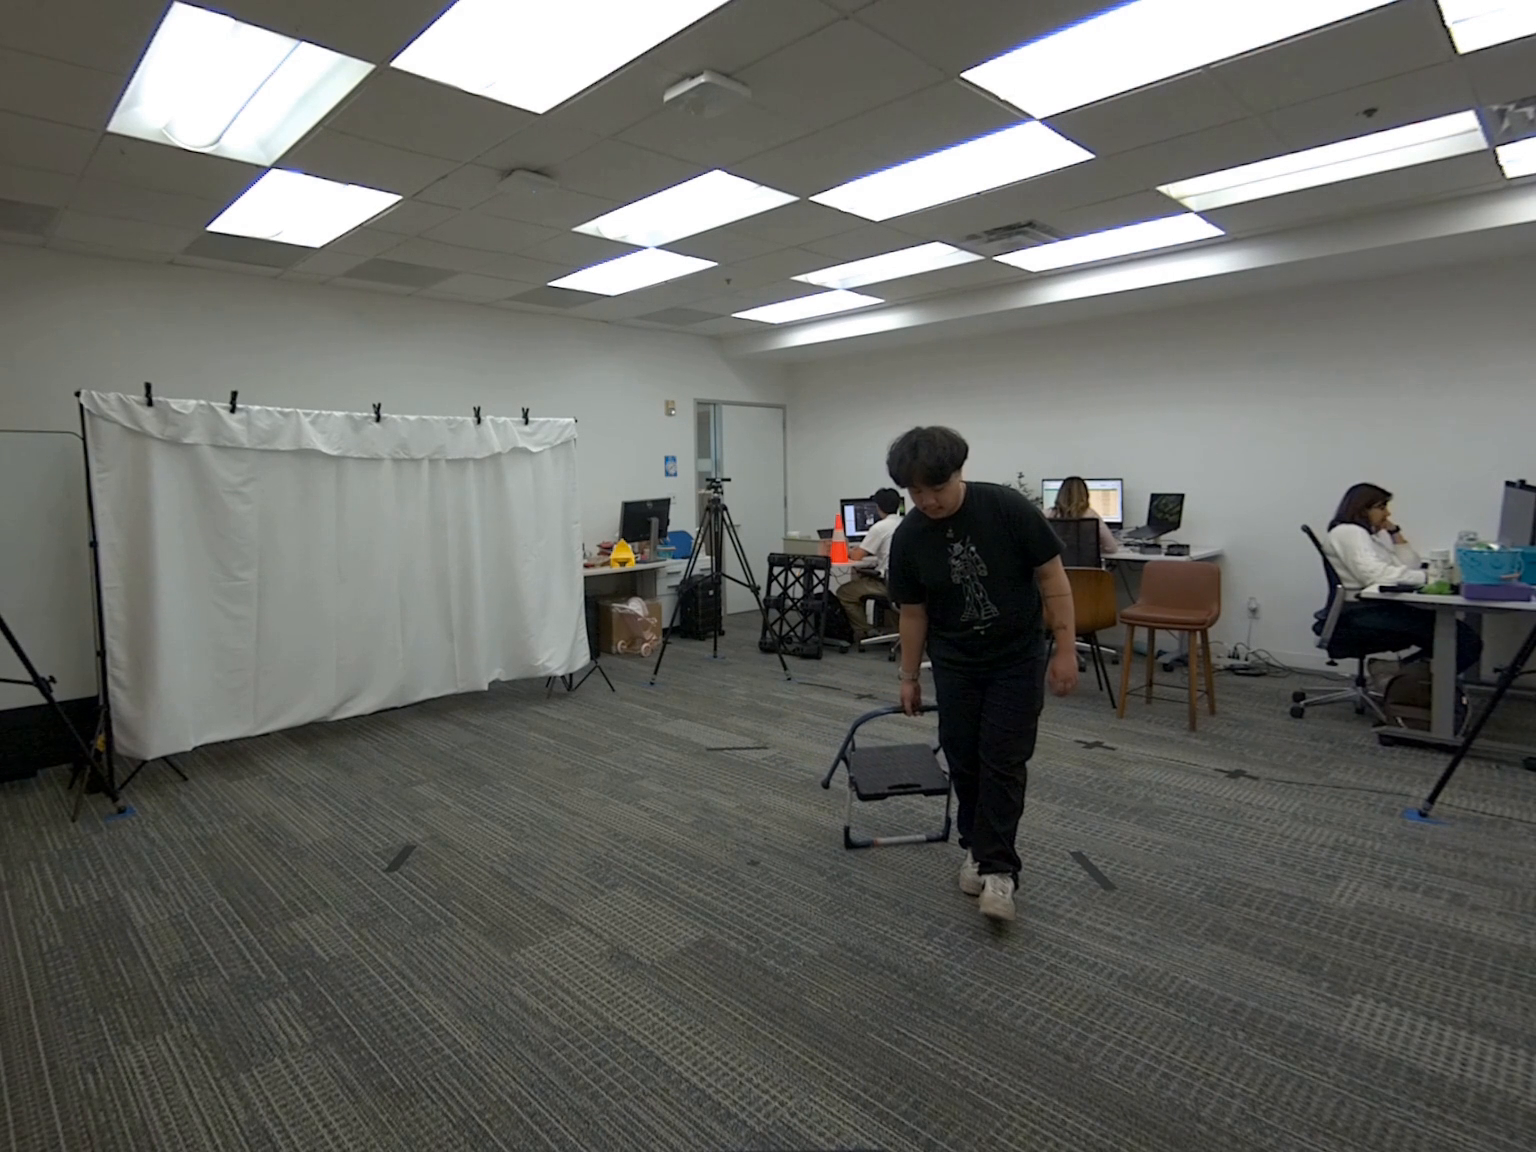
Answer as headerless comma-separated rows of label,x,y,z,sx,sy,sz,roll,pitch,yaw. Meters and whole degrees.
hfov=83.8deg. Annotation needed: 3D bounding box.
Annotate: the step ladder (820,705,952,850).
step ladder,0.485,0.681,3.230,0.426,0.593,0.360,-2,32,-11
